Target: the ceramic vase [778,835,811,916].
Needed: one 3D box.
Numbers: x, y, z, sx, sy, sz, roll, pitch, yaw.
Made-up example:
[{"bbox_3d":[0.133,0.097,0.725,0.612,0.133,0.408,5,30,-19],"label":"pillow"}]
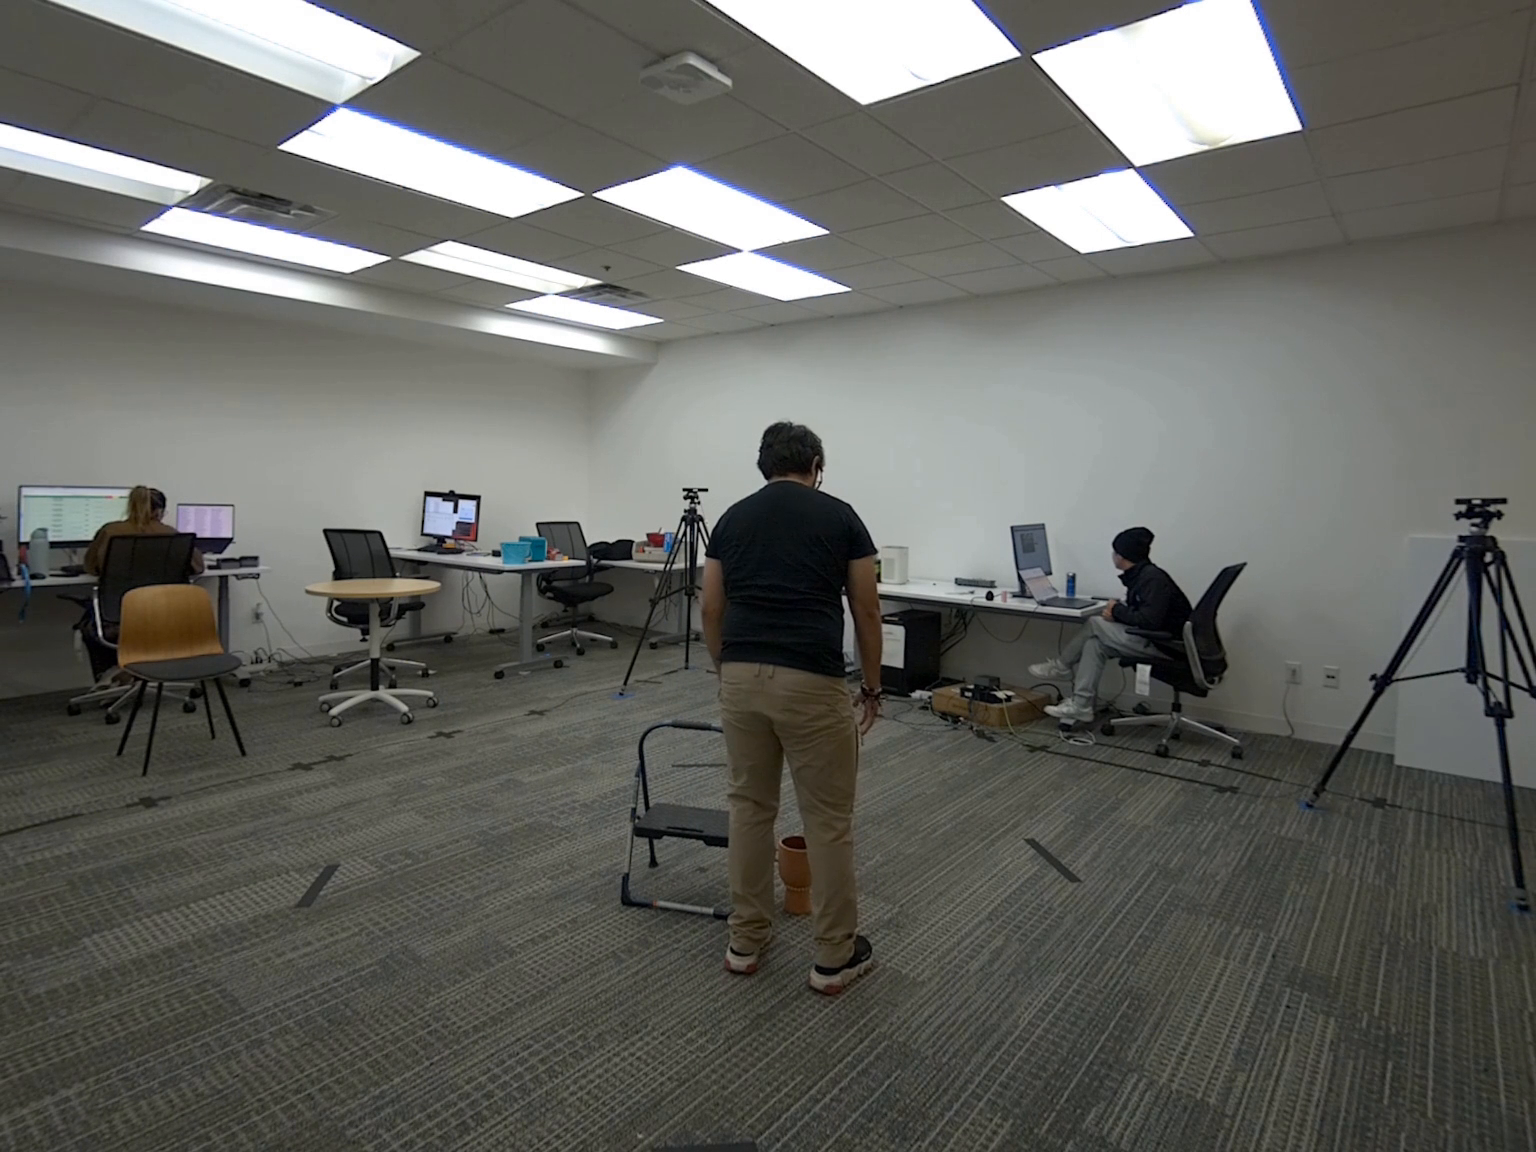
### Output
[{"bbox_3d":[0.099,0.994,2.825,0.130,0.219,0.164,-1,3,-38],"label":"ceramic vase"}]
